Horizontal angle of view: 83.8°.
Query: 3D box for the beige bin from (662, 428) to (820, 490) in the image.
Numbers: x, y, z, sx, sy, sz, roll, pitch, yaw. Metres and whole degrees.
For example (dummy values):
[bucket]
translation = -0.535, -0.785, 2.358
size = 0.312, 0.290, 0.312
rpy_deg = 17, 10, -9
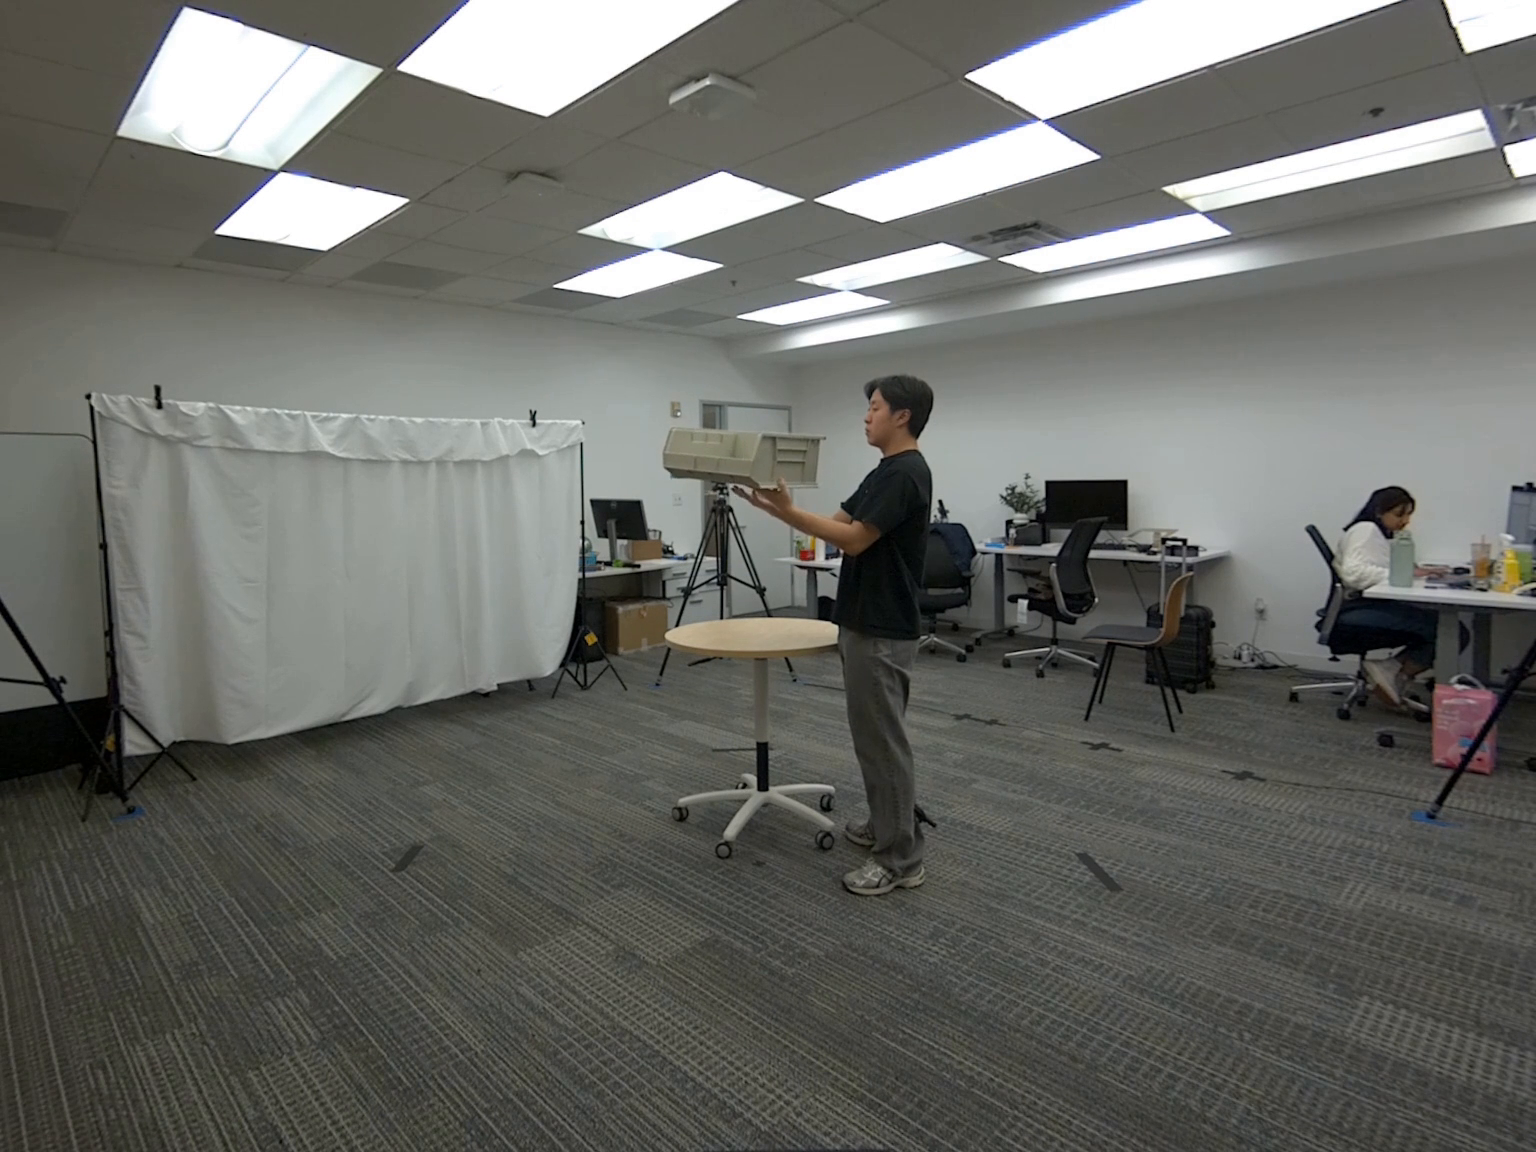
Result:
[beige bin]
translation = -0.086, -0.410, 2.956
size = 0.436, 0.188, 0.367
rpy_deg = 10, 10, 41
